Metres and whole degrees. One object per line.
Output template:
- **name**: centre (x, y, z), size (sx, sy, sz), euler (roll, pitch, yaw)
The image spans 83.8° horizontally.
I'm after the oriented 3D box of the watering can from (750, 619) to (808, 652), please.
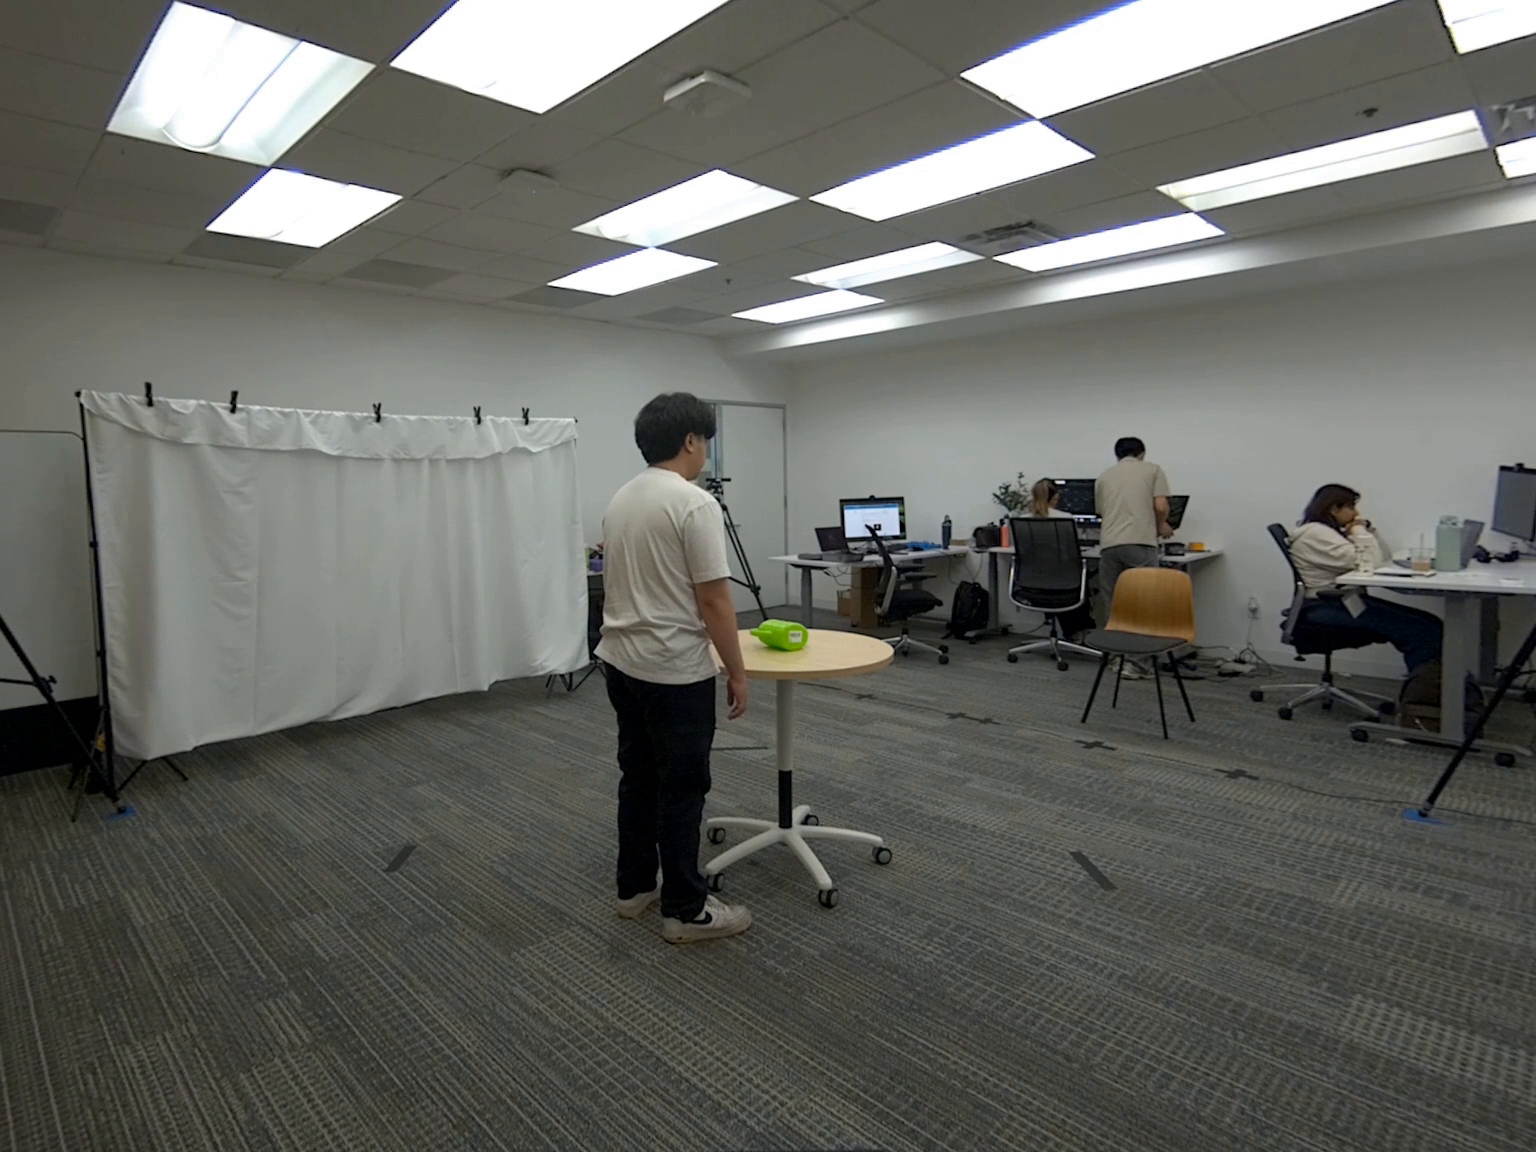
- **watering can**: centre (0.071, 0.198, 3.068), size (0.272, 0.097, 0.182), euler (-13, 12, -39)
